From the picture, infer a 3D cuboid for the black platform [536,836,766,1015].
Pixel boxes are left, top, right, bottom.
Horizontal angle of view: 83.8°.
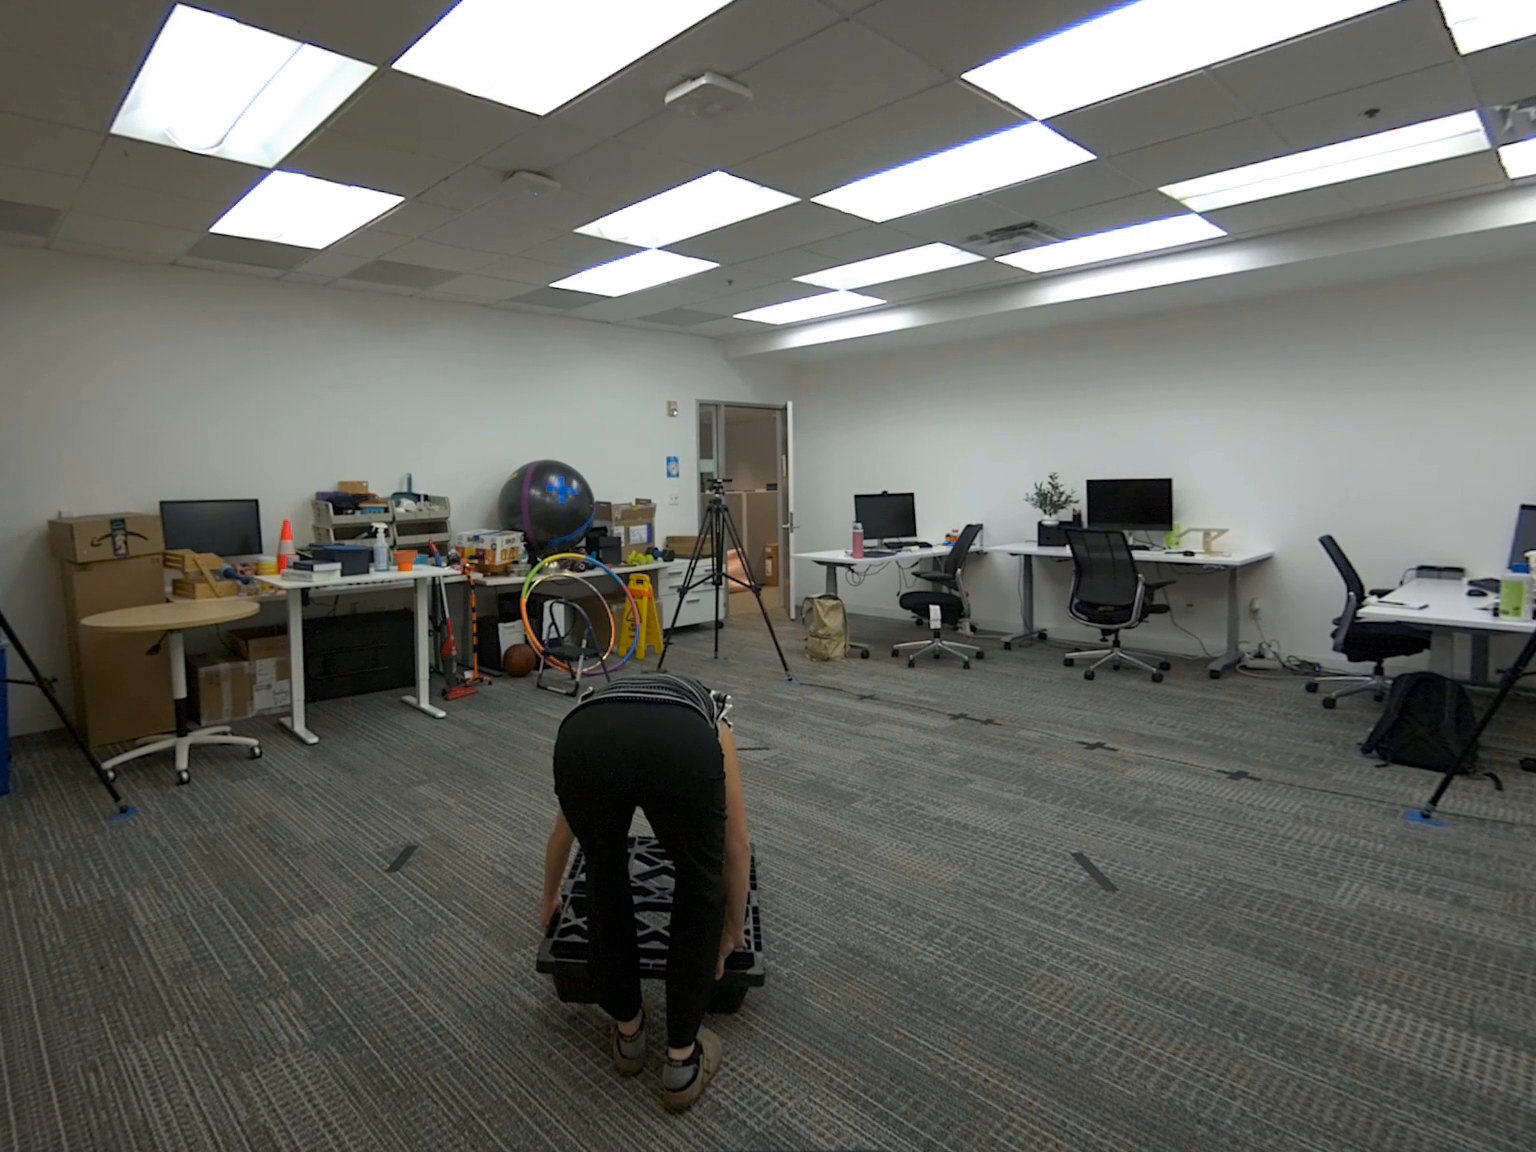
[{"bbox_3d":[-0.326,1.026,2.595,0.604,0.143,0.810,2,6,-2],"label":"black platform"}]
